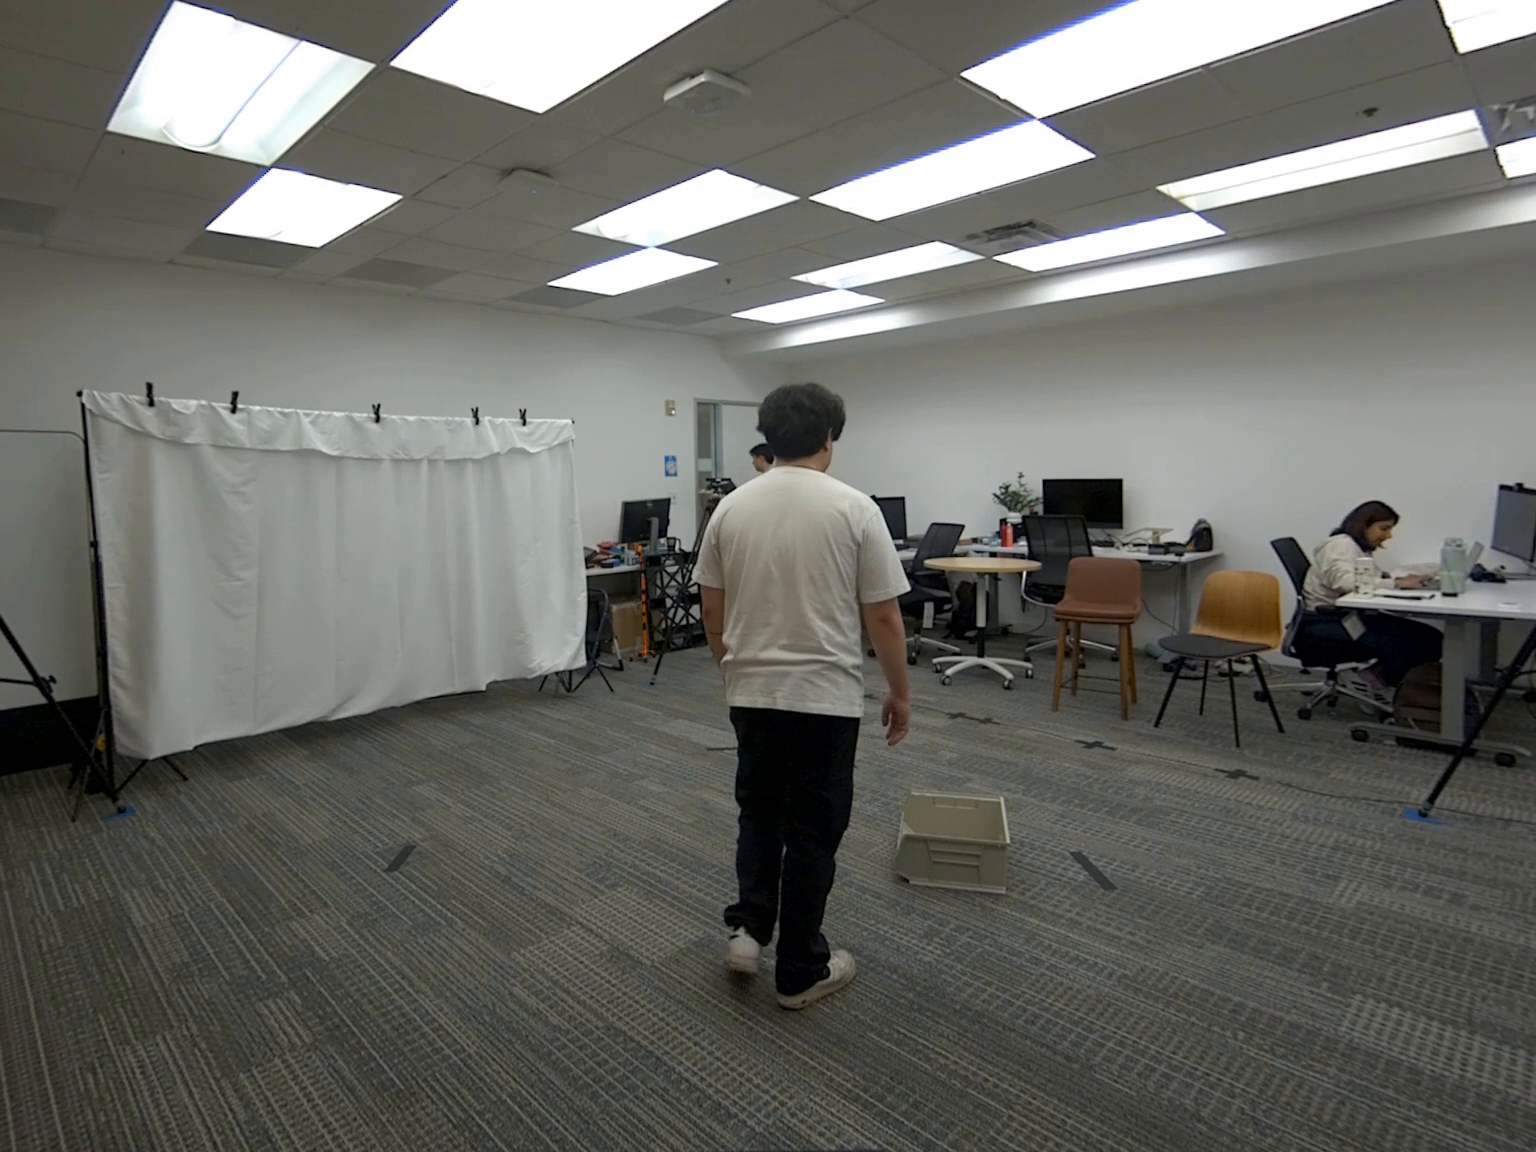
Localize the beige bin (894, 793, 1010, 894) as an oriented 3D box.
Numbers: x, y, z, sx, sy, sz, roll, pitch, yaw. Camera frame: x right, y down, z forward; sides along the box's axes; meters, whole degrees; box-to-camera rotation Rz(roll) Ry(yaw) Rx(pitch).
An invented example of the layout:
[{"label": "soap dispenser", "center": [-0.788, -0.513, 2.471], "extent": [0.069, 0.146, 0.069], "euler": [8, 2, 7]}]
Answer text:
[{"label": "beige bin", "center": [0.665, 0.946, 3.073], "extent": [0.382, 0.188, 0.418], "euler": [1, 6, 13]}]
